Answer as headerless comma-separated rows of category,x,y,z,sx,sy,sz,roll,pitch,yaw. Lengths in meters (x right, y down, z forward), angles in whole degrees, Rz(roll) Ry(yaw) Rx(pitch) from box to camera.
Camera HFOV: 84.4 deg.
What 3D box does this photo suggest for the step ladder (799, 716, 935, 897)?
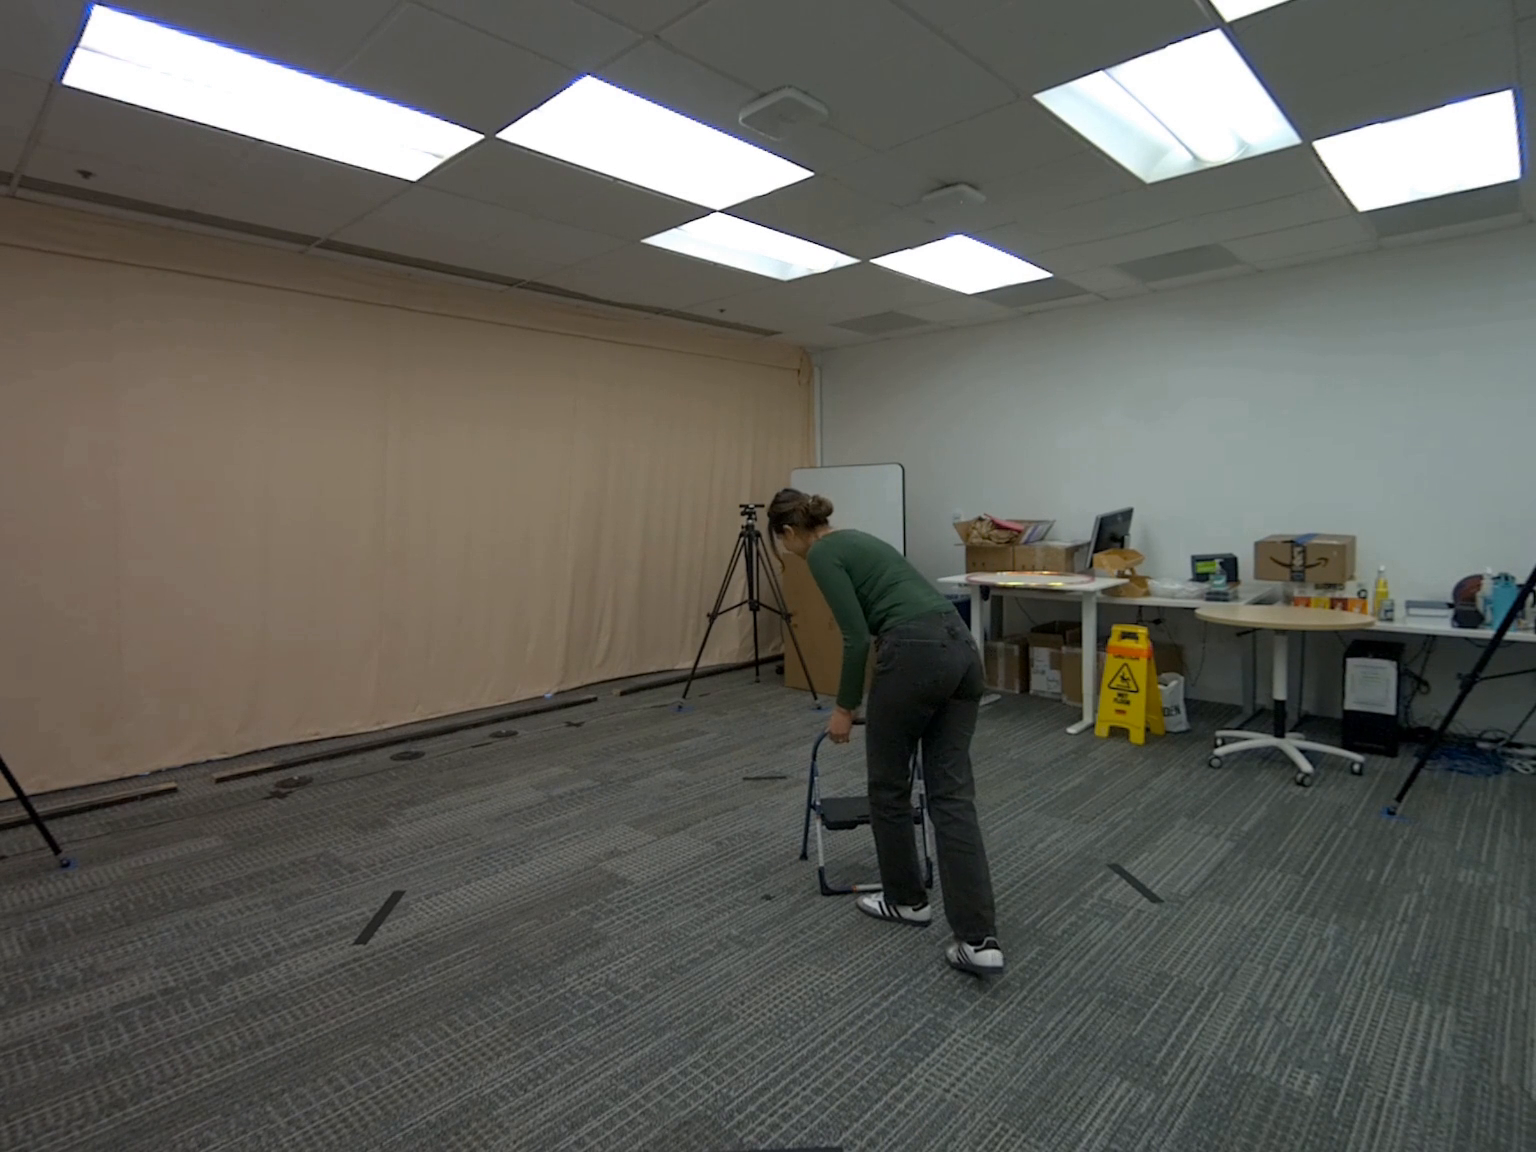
step ladder,0.359,0.814,3.152,0.427,0.605,0.353,-2,4,-9
